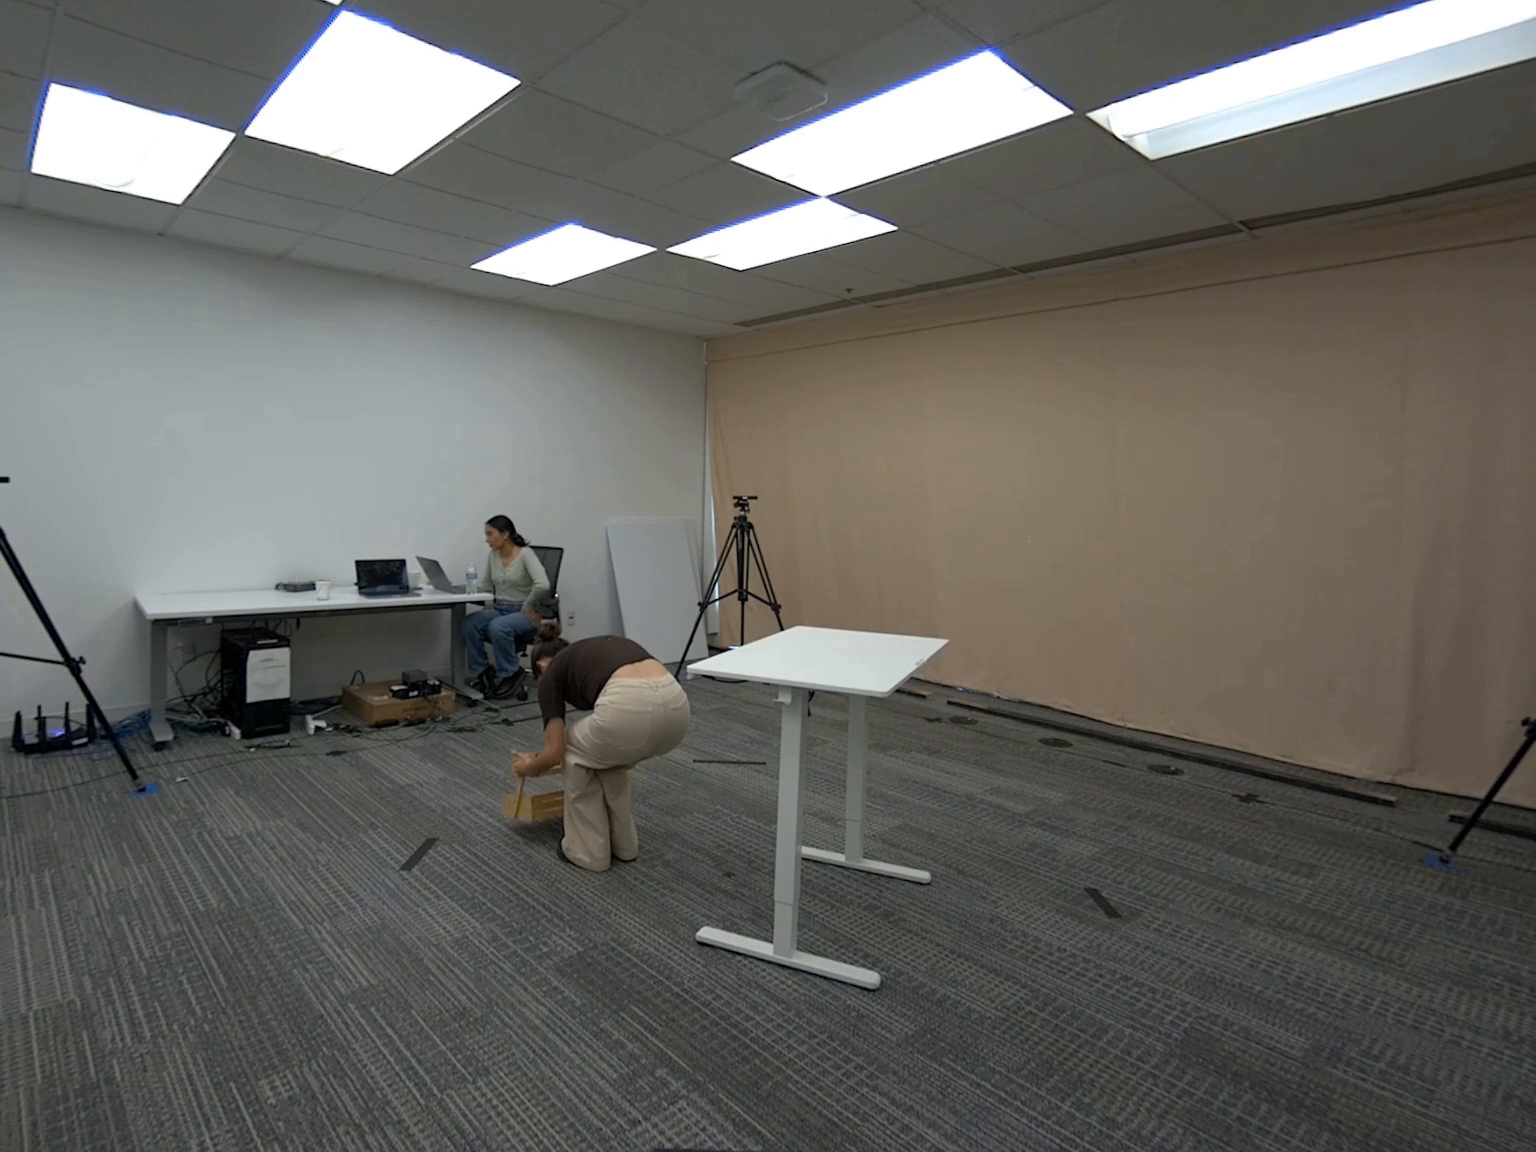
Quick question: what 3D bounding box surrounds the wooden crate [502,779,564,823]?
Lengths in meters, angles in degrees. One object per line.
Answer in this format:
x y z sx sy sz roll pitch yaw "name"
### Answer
-0.909 0.847 3.481 0.316 0.275 0.307 1 -9 -45 "wooden crate"
